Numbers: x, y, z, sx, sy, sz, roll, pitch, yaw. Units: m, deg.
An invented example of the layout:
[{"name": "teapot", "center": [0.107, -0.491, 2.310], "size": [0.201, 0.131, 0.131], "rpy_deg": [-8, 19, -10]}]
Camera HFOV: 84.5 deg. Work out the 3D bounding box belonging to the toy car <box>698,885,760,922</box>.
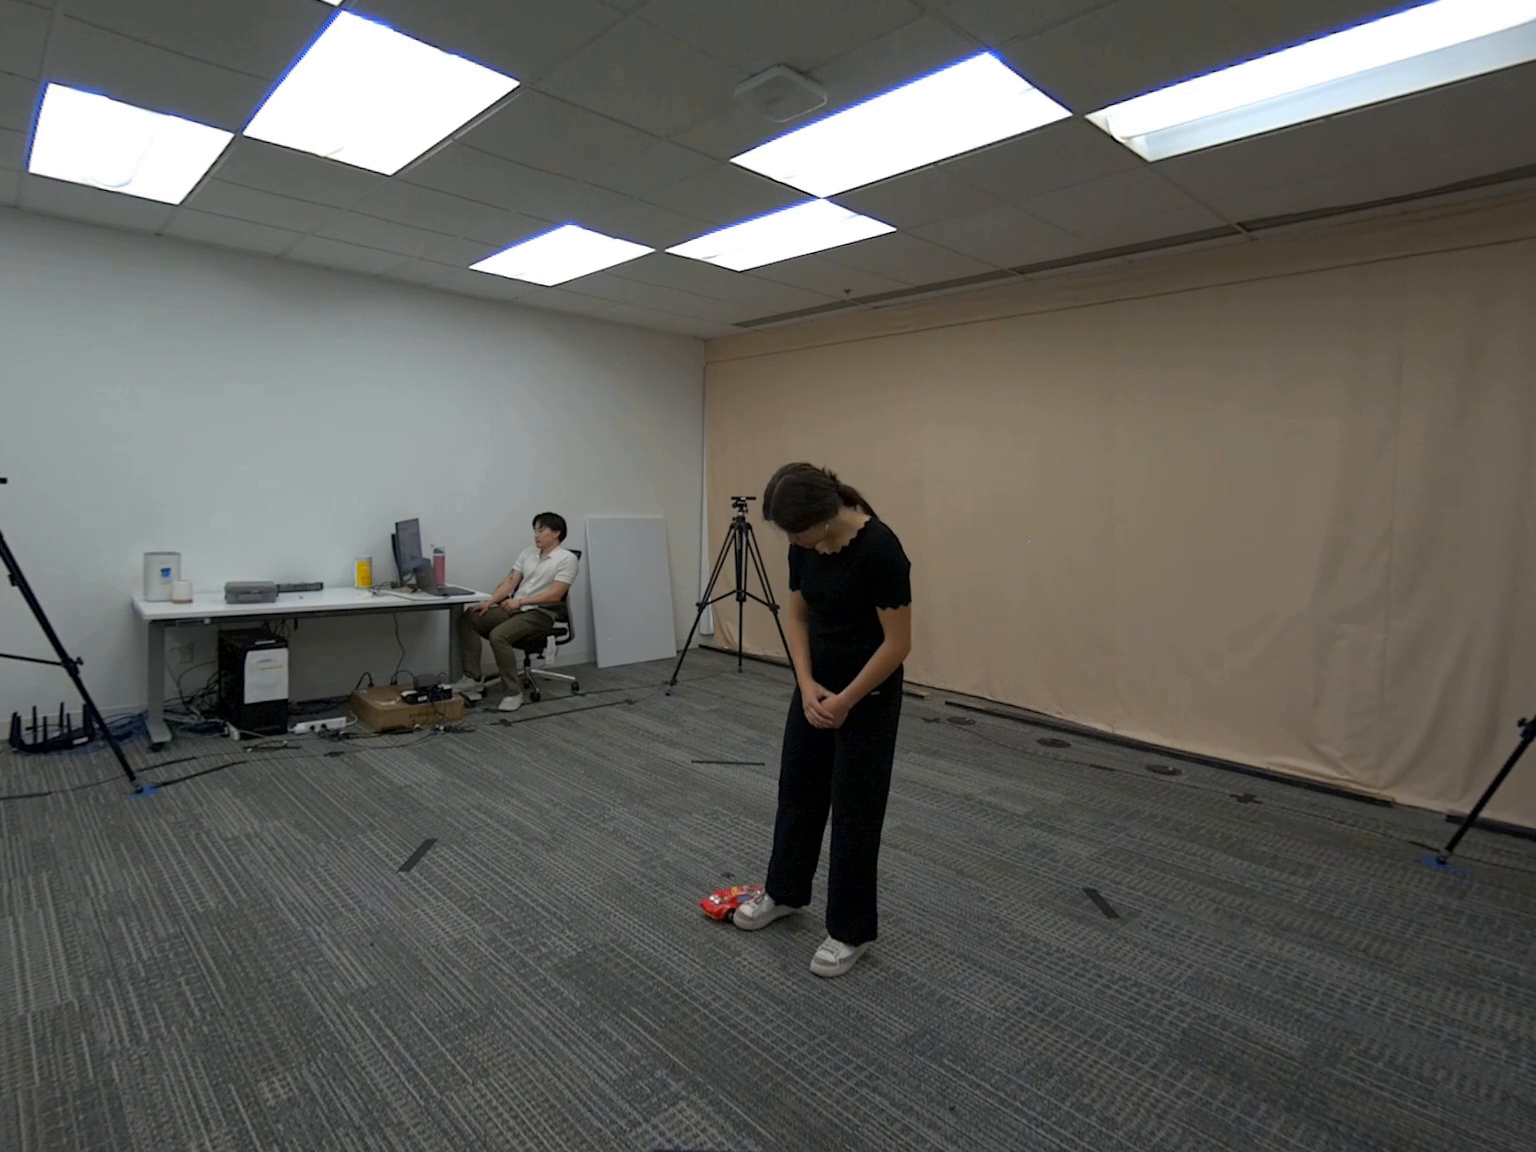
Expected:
[{"name": "toy car", "center": [-0.119, 1.098, 2.834], "size": [0.248, 0.083, 0.133], "rpy_deg": [11, -3, -36]}]
